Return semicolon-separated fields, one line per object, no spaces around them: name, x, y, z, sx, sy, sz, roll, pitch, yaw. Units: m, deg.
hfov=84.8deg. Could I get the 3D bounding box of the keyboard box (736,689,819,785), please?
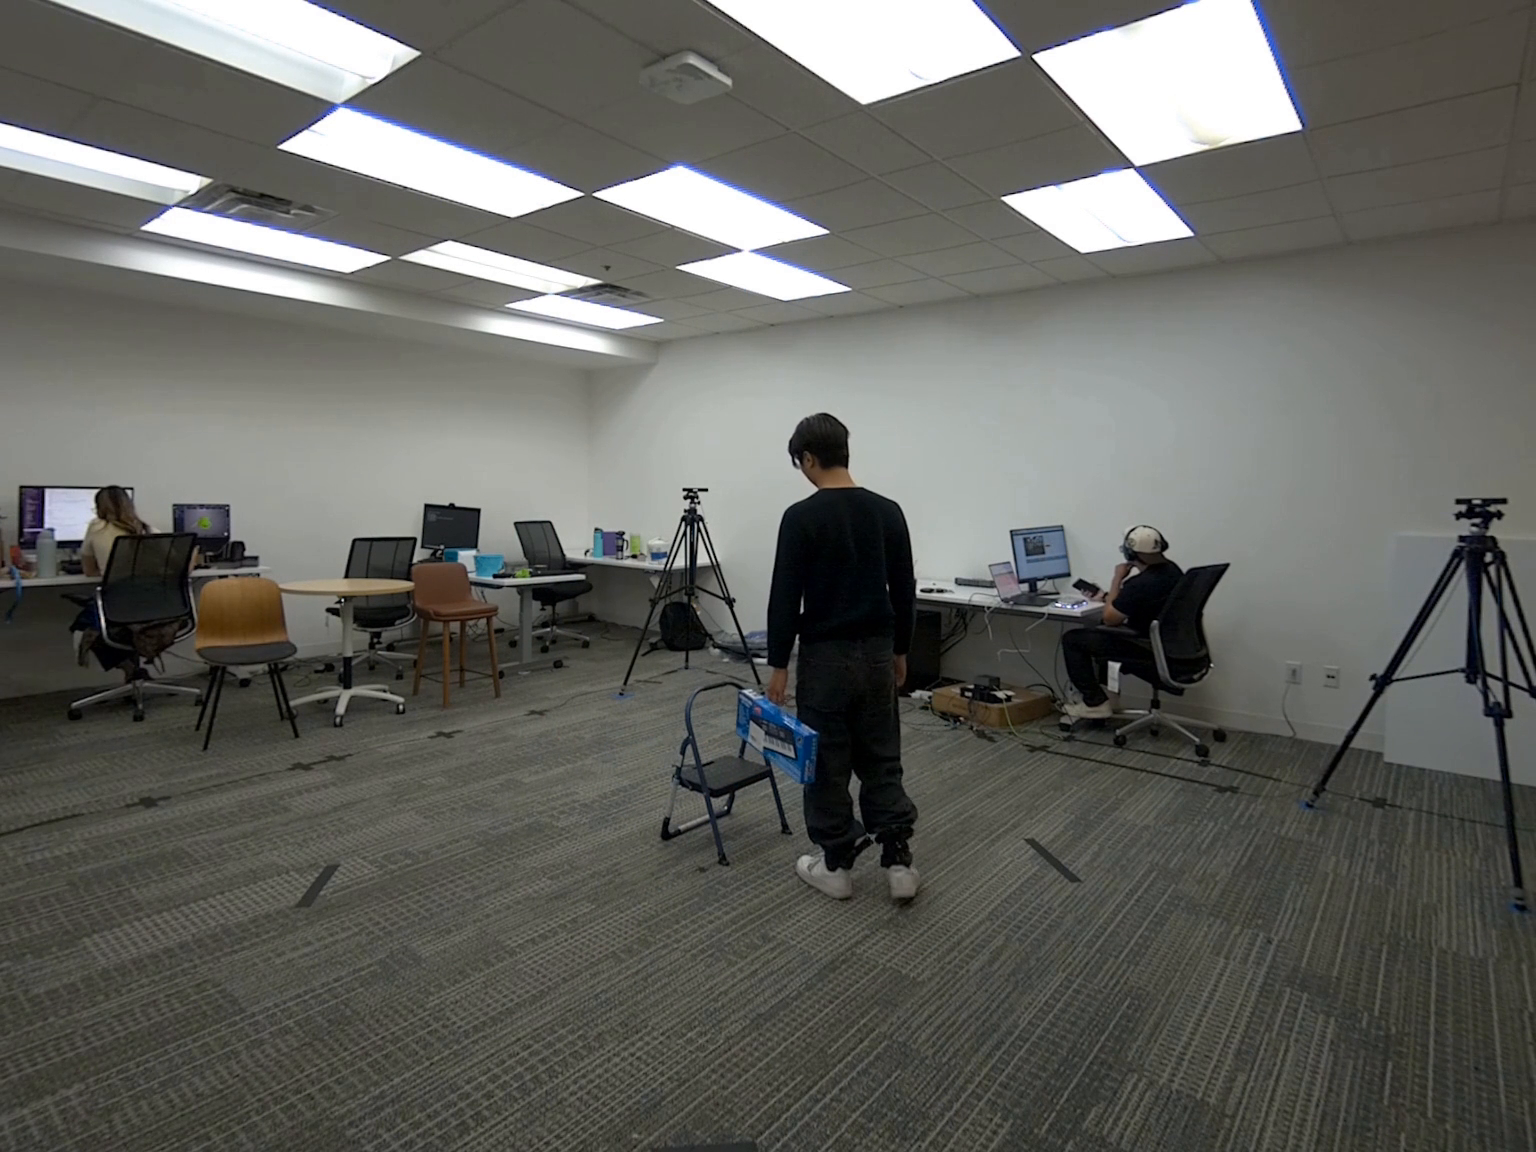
keyboard box;0.017;0.550;2.982;0.057;0.174;0.452;-1;12;-31
